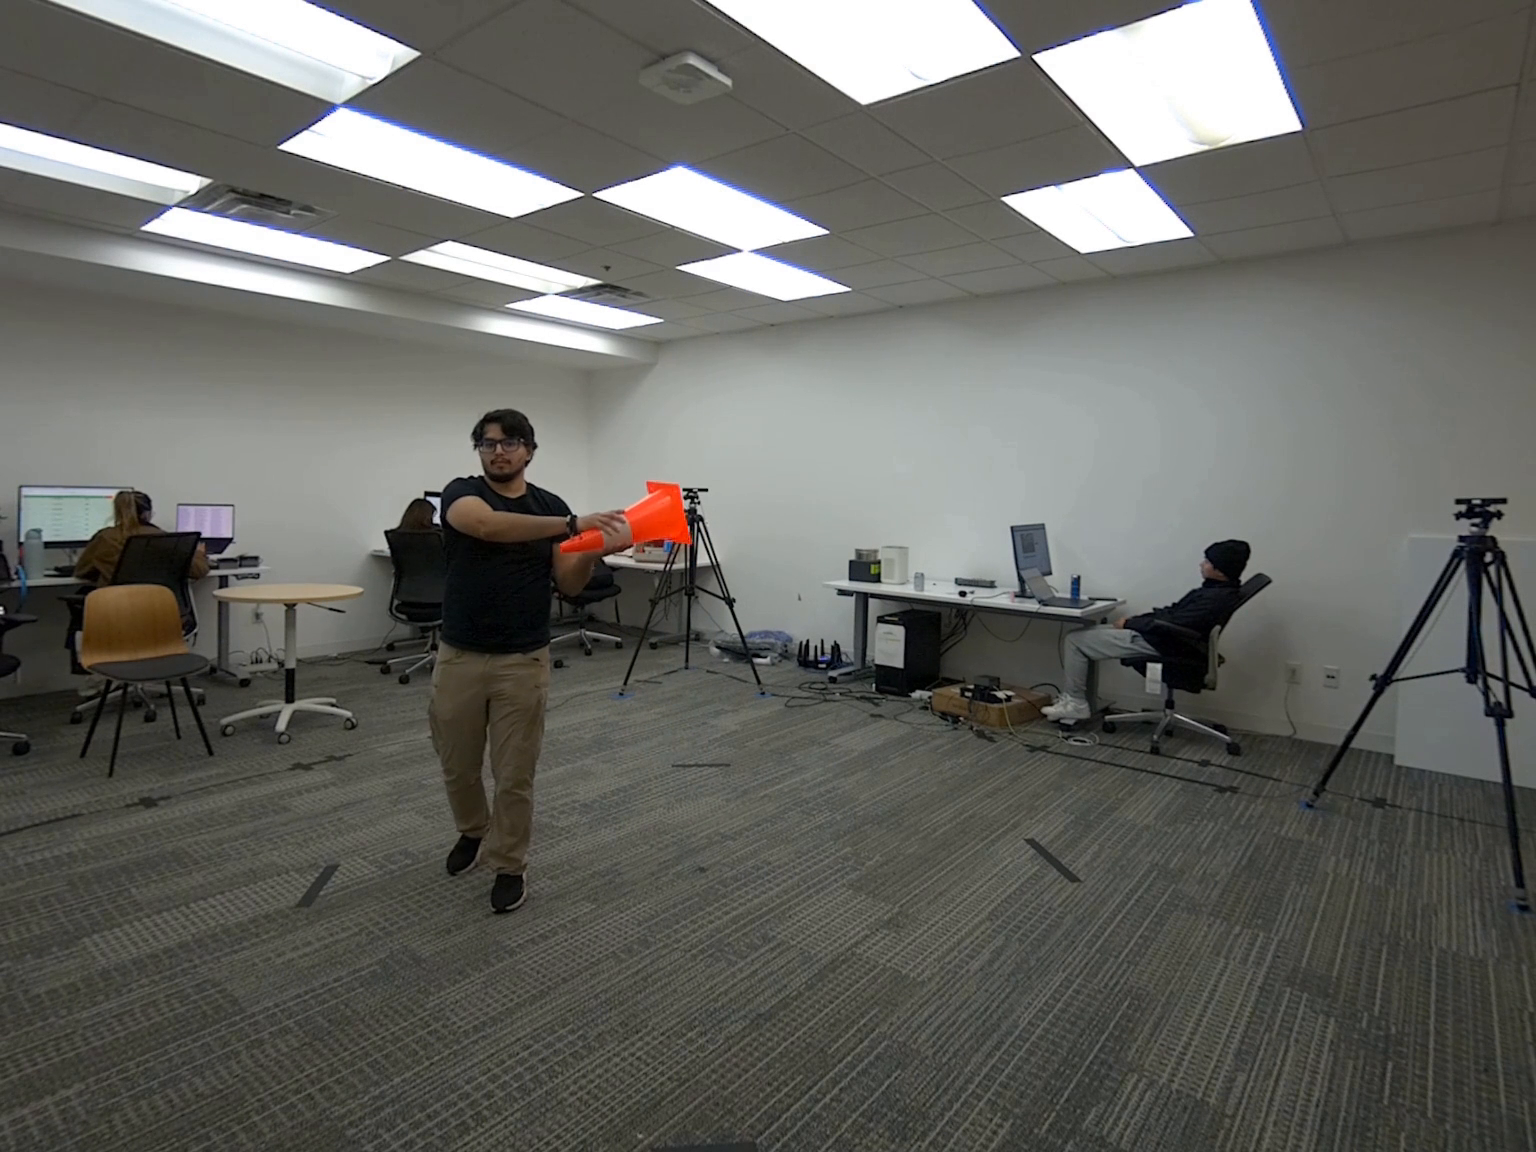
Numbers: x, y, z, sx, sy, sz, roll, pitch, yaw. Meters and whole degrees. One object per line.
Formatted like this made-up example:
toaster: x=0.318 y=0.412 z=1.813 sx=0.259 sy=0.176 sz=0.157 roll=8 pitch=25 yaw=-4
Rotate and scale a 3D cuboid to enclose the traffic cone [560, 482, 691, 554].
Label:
traffic cone: x=-0.477 y=-0.126 z=2.587 sx=0.378 sy=0.199 sz=0.212 roll=-24 pitch=21 yaw=-31
